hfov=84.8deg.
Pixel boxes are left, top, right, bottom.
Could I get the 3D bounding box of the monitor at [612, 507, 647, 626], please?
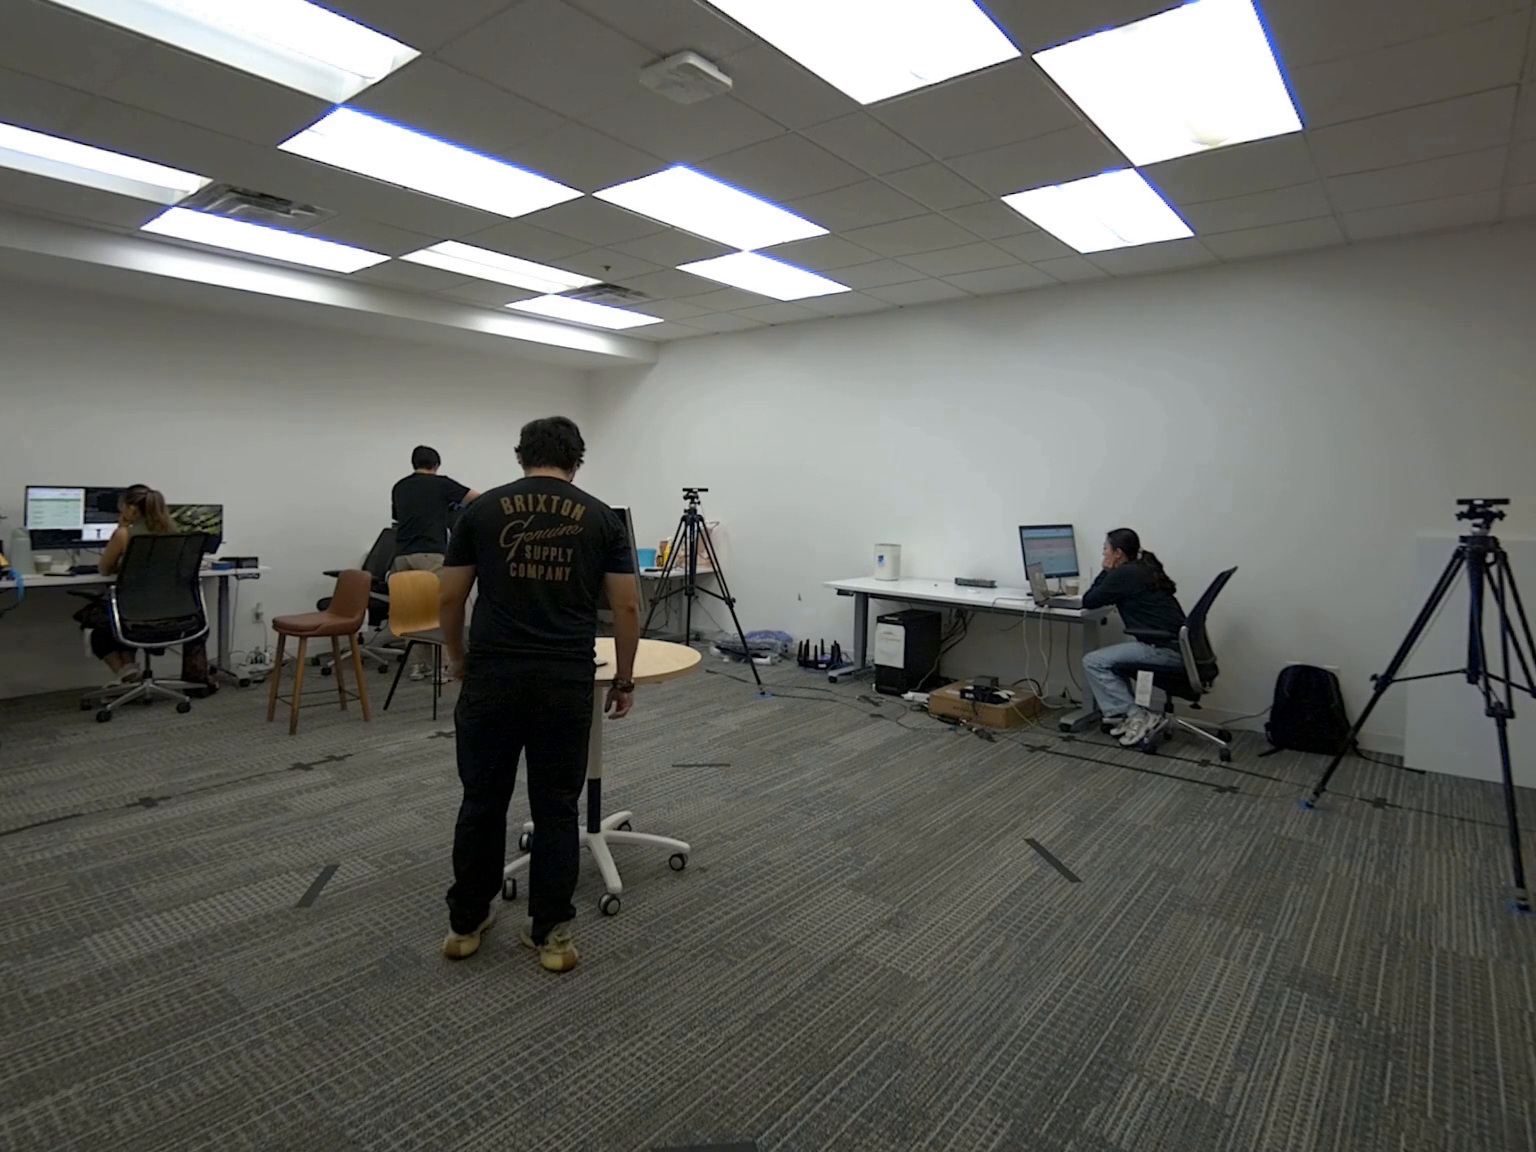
[{"bbox_3d":[-0.718,0.038,2.872,0.582,0.549,0.206,3,10,30],"label":"monitor"}]
